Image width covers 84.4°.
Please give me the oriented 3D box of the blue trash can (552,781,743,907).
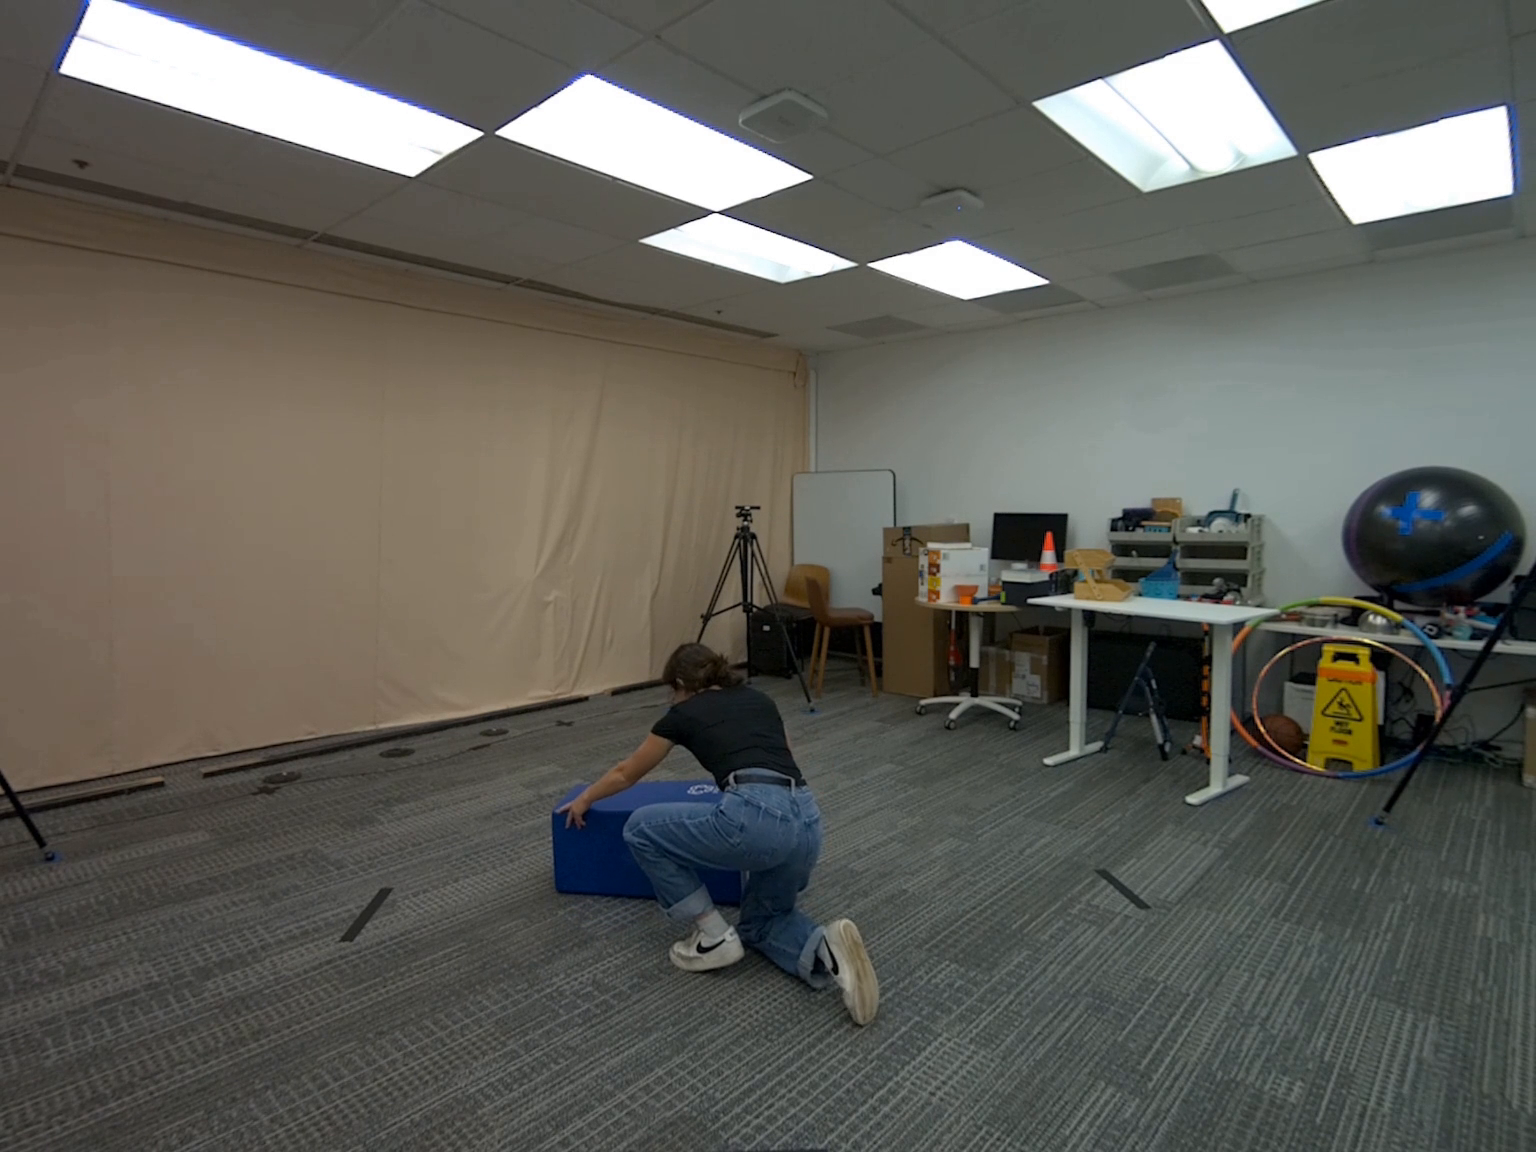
[{"bbox_3d":[-0.406,0.970,3.110,0.720,0.377,0.372,-2,4,8],"label":"blue trash can"}]
